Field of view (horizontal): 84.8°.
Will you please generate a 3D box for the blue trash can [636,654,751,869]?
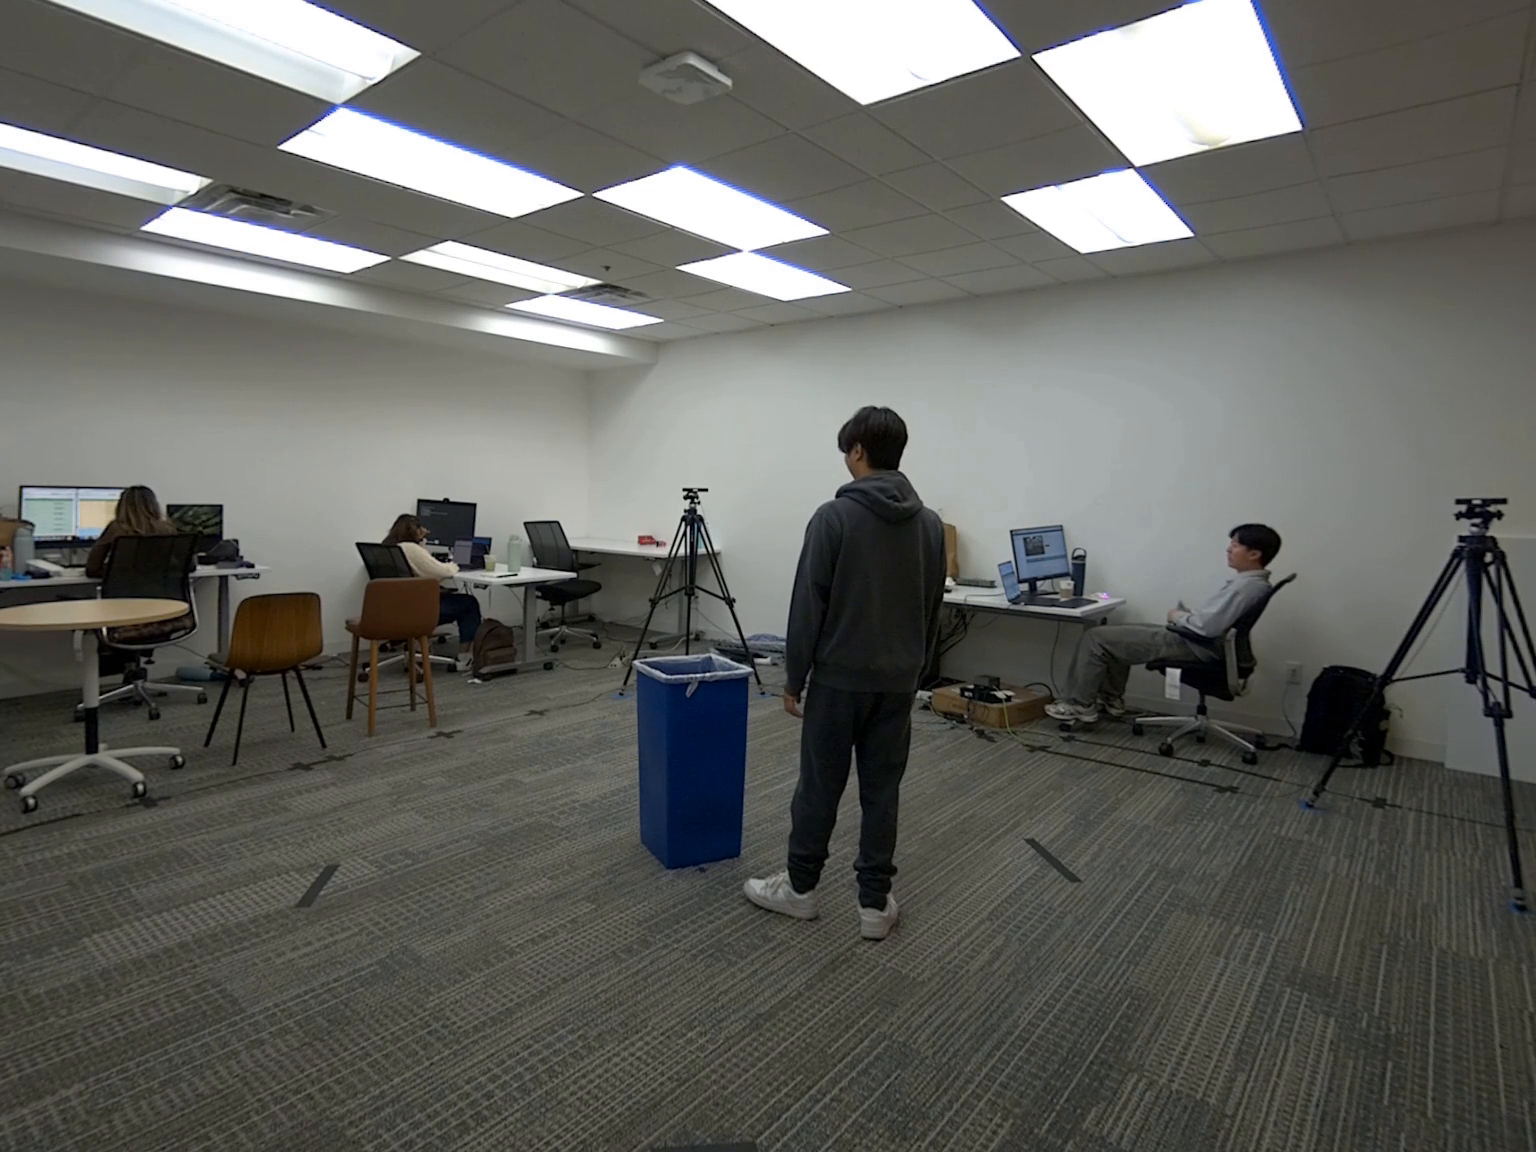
[{"bbox_3d":[-0.314,0.693,3.281,0.368,0.712,0.385,0,3,-28],"label":"blue trash can"}]
